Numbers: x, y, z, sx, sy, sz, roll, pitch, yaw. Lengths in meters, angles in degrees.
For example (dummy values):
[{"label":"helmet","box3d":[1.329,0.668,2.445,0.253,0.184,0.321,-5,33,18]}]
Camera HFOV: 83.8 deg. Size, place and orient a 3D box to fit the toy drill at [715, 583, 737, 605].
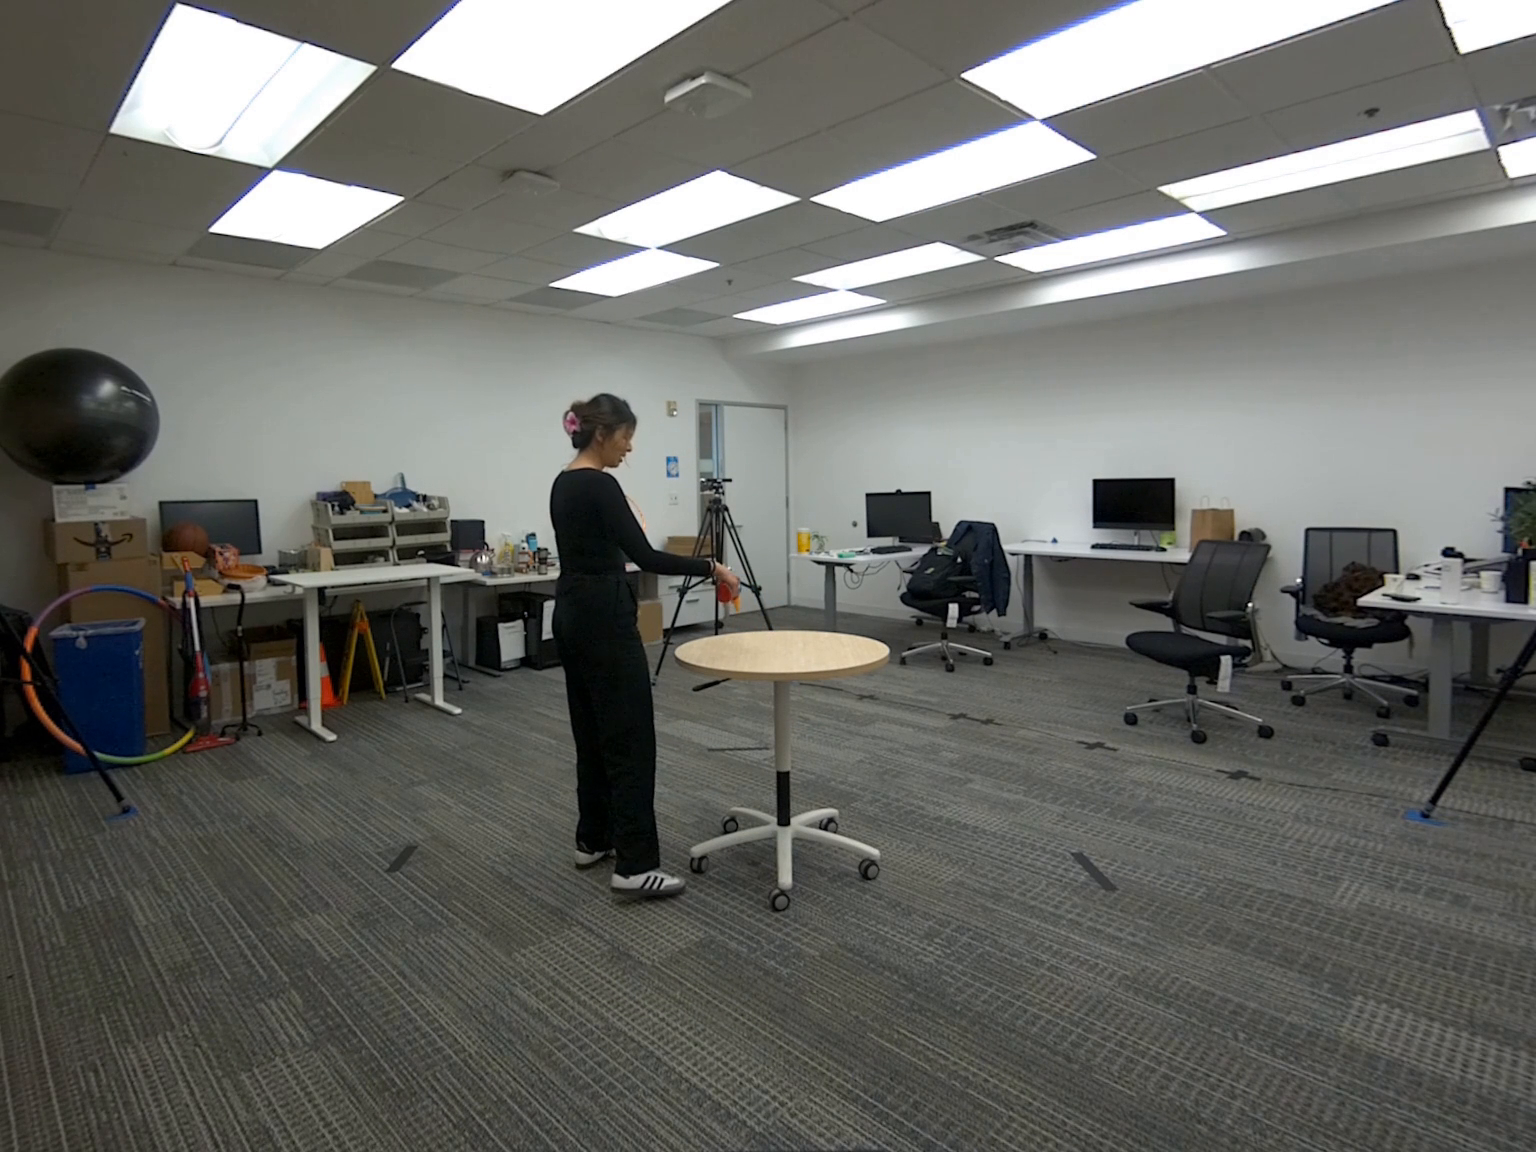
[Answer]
[{"label":"toy drill","box3d":[-0.132,0.070,3.000,0.062,0.167,0.147,-6,18,14]}]
